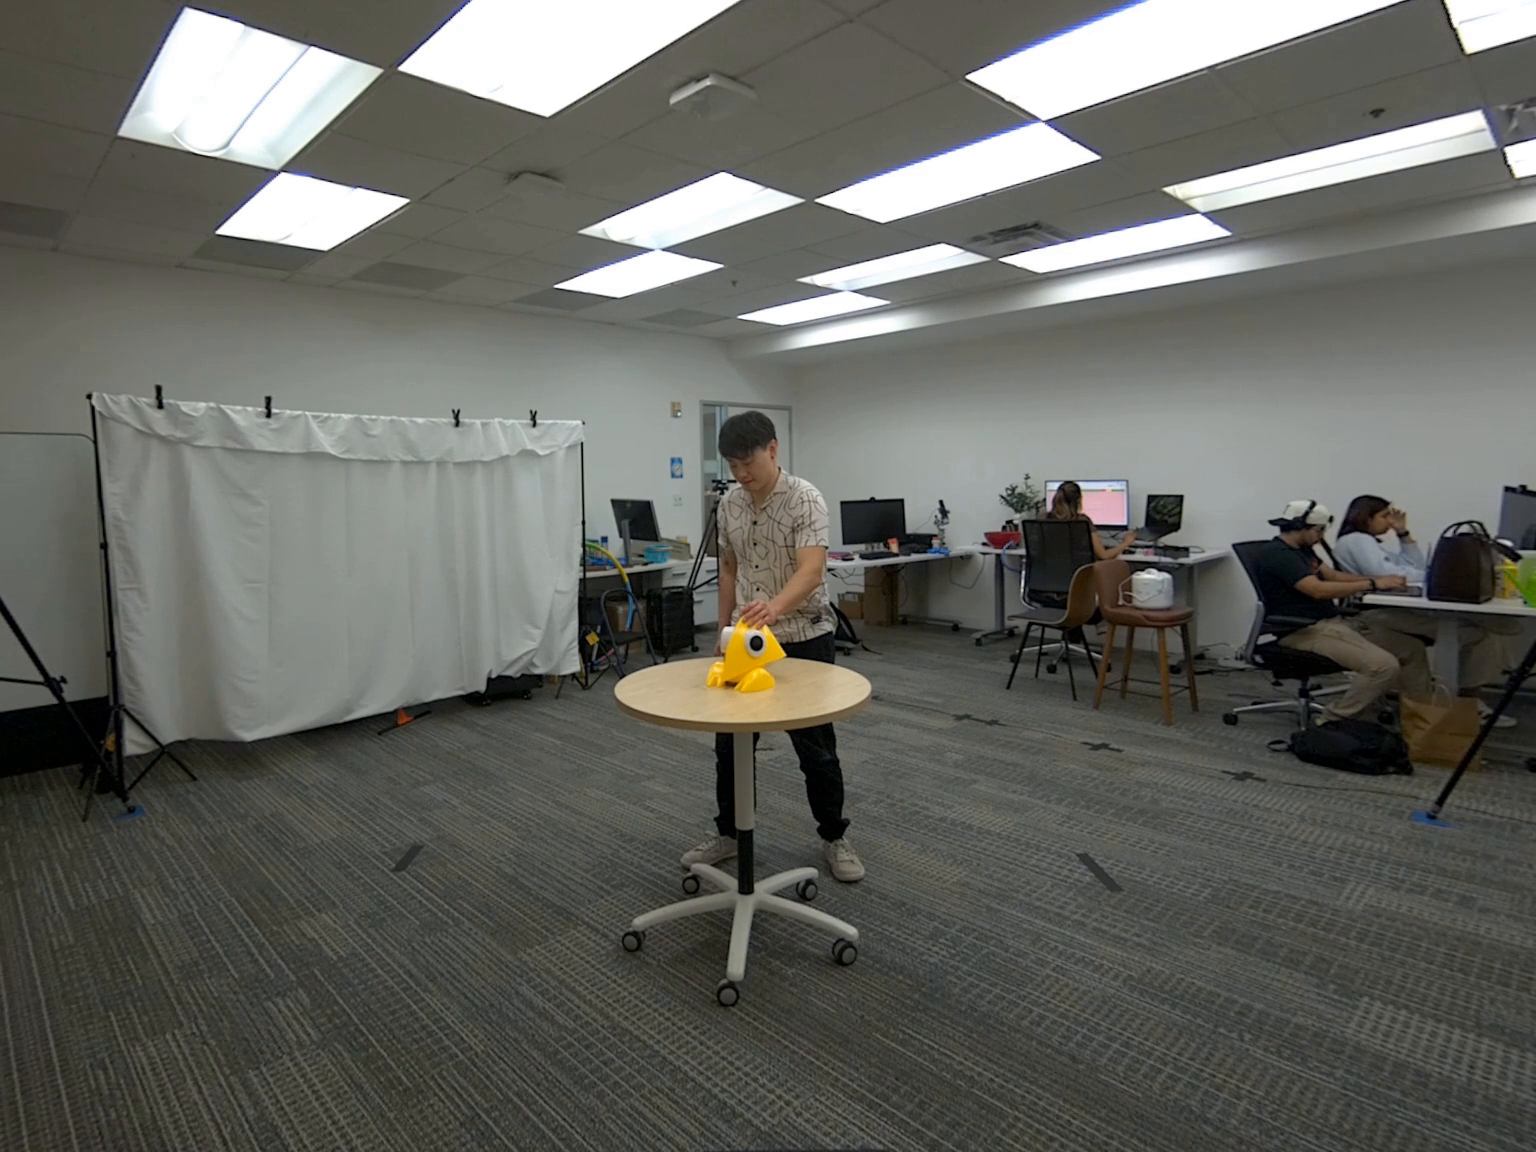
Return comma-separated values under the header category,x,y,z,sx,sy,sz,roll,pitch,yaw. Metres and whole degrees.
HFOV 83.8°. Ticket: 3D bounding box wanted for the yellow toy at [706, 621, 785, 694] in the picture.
category,x,y,z,sx,sy,sz,roll,pitch,yaw
yellow toy,-0.076,0.216,2.575,0.211,0.230,0.188,3,6,36
